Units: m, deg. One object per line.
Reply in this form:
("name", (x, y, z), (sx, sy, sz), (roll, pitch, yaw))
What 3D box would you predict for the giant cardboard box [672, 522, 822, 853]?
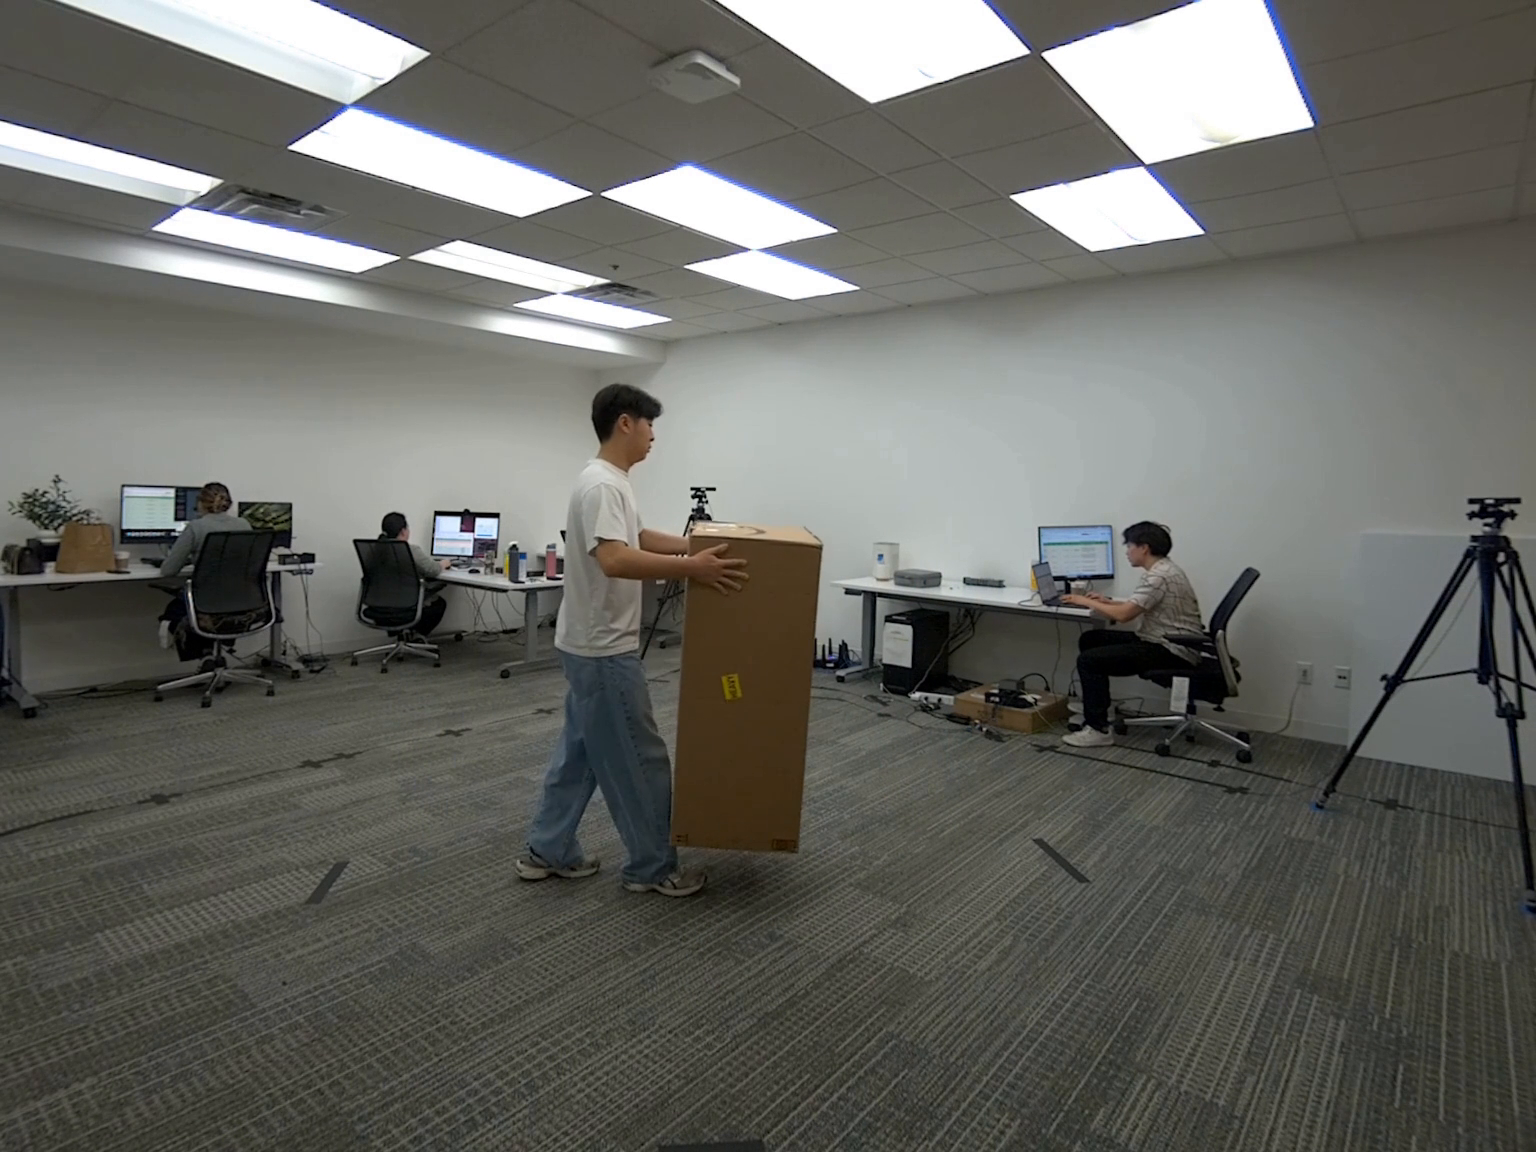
("giant cardboard box", (-0.096, 0.348, 3.005), (0.425, 1.020, 0.582), (3, 6, -3))
